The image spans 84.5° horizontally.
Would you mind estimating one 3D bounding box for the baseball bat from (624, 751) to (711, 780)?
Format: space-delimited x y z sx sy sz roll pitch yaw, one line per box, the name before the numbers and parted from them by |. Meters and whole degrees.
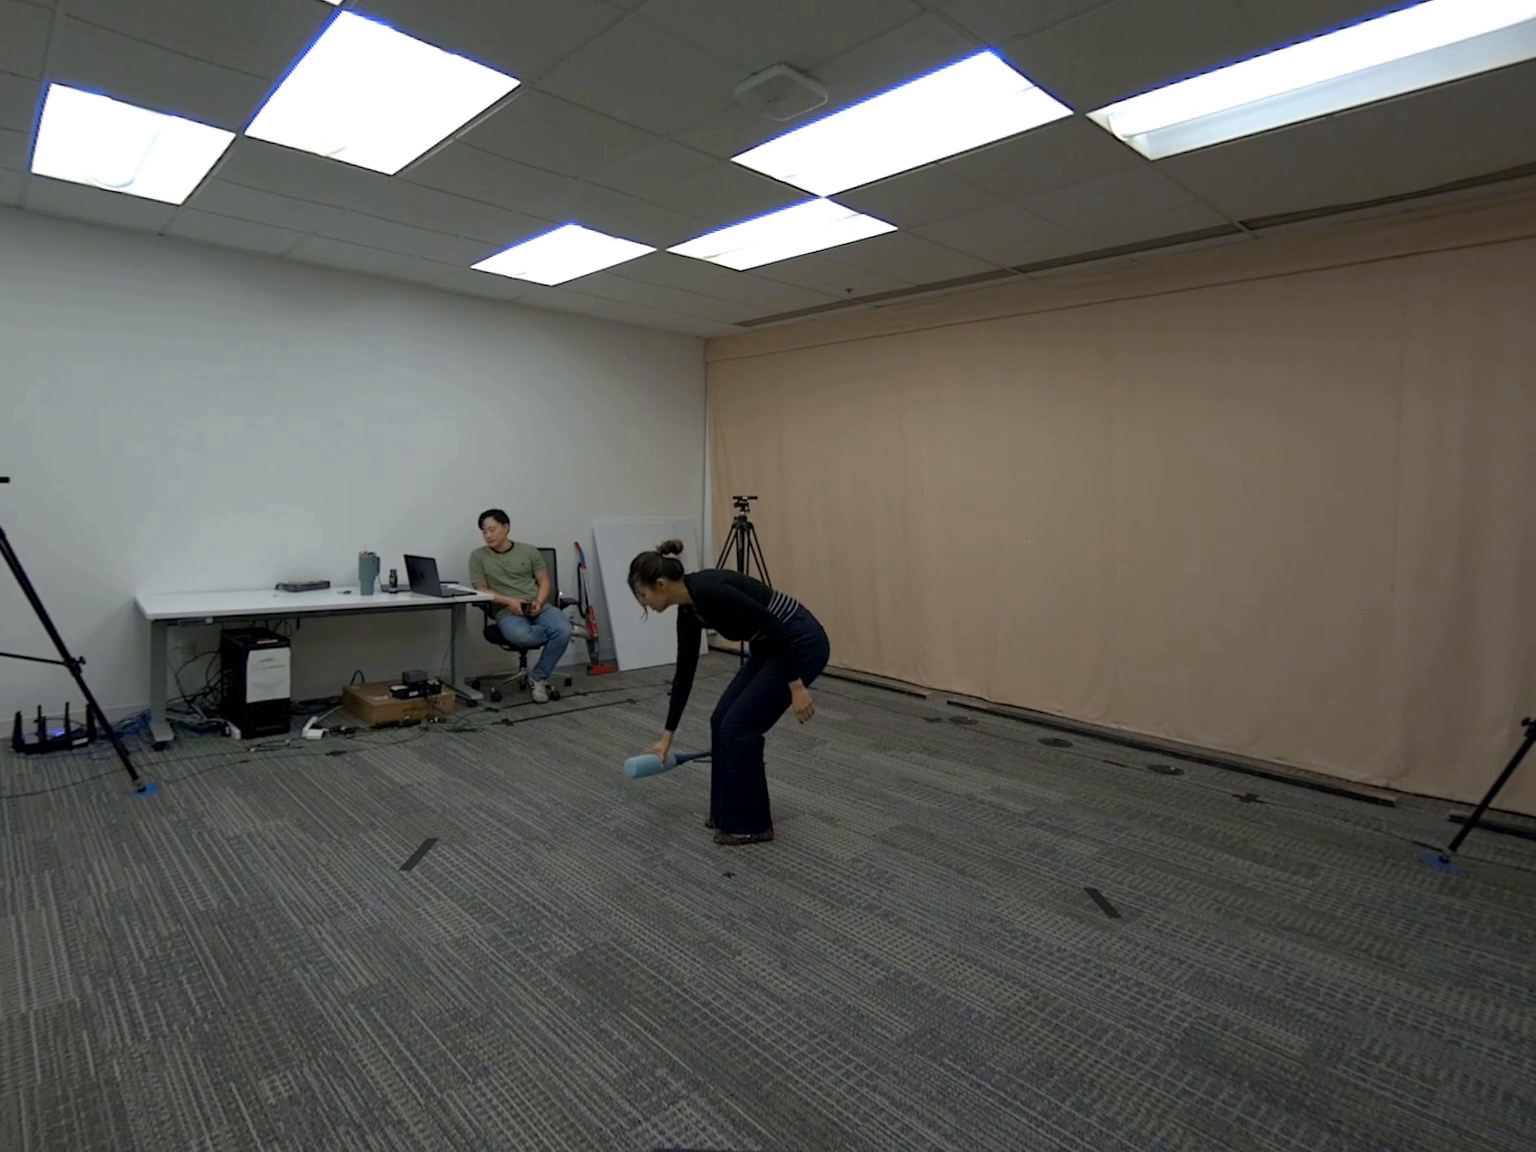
baseball bat | -0.404 0.800 3.678 0.091 0.089 0.529 5 -1 36
